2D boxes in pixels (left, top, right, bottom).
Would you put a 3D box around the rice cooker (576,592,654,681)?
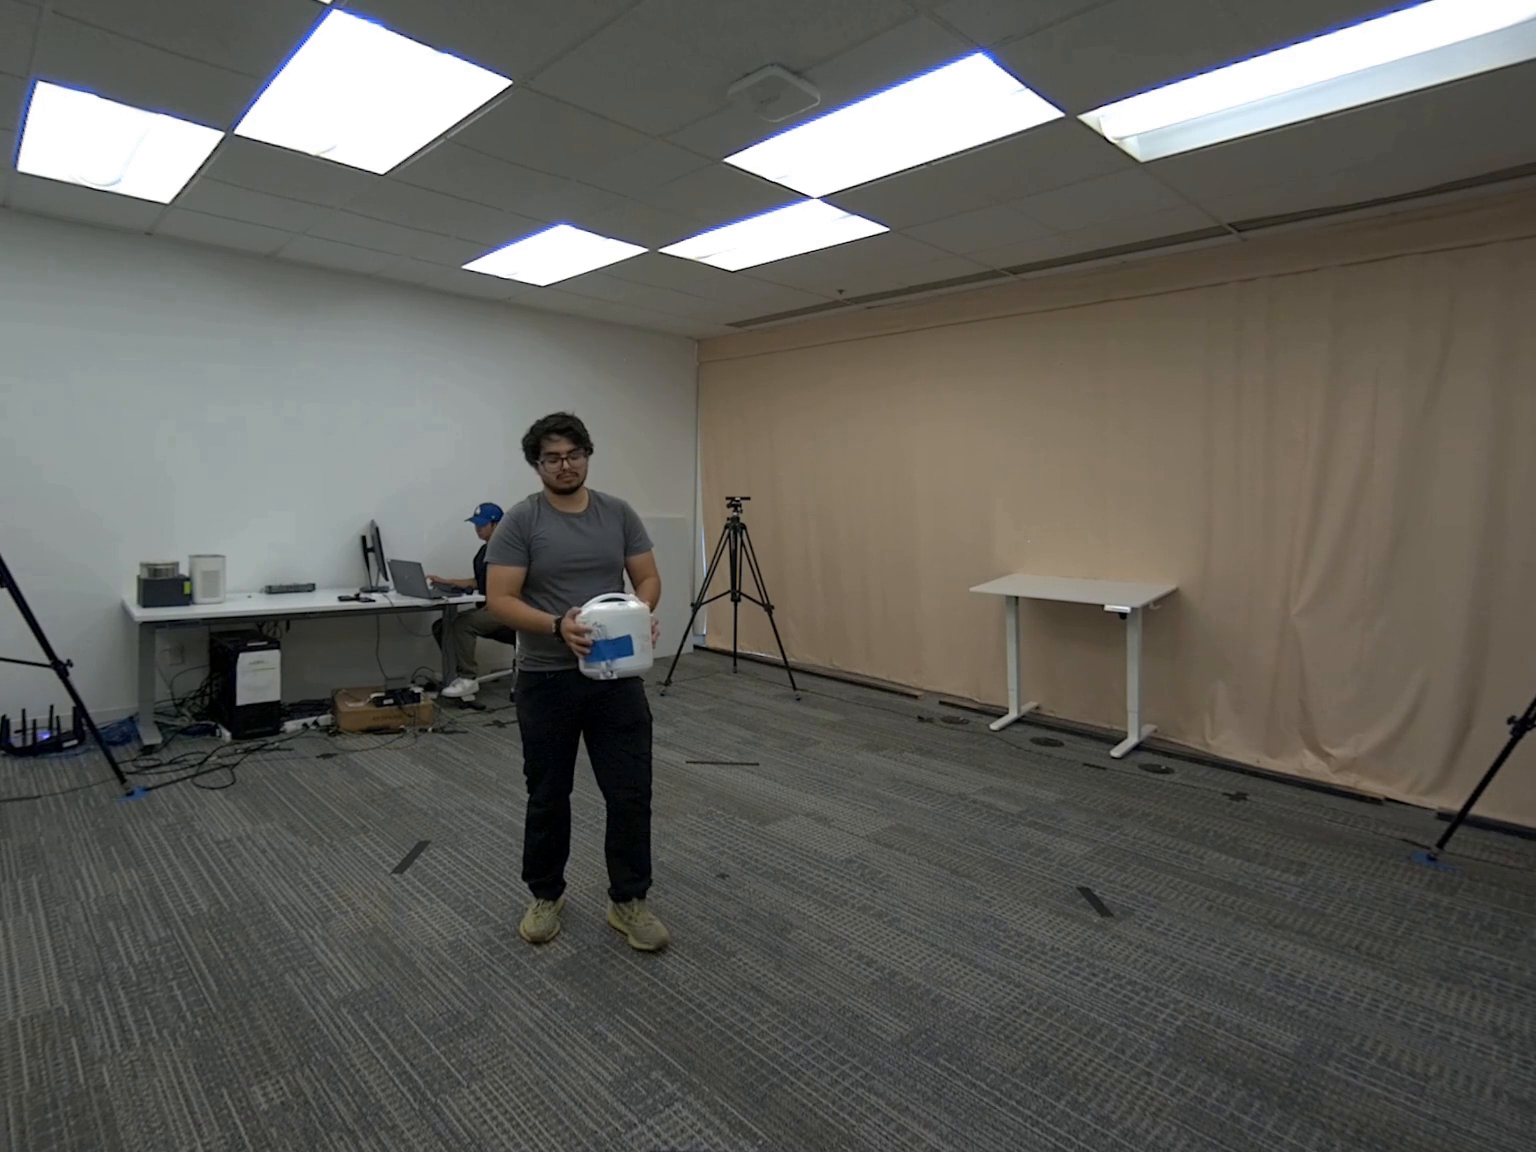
[{"bbox_3d":[-0.443,0.166,2.362,0.216,0.233,0.222,-2,-3,-37],"label":"rice cooker"}]
